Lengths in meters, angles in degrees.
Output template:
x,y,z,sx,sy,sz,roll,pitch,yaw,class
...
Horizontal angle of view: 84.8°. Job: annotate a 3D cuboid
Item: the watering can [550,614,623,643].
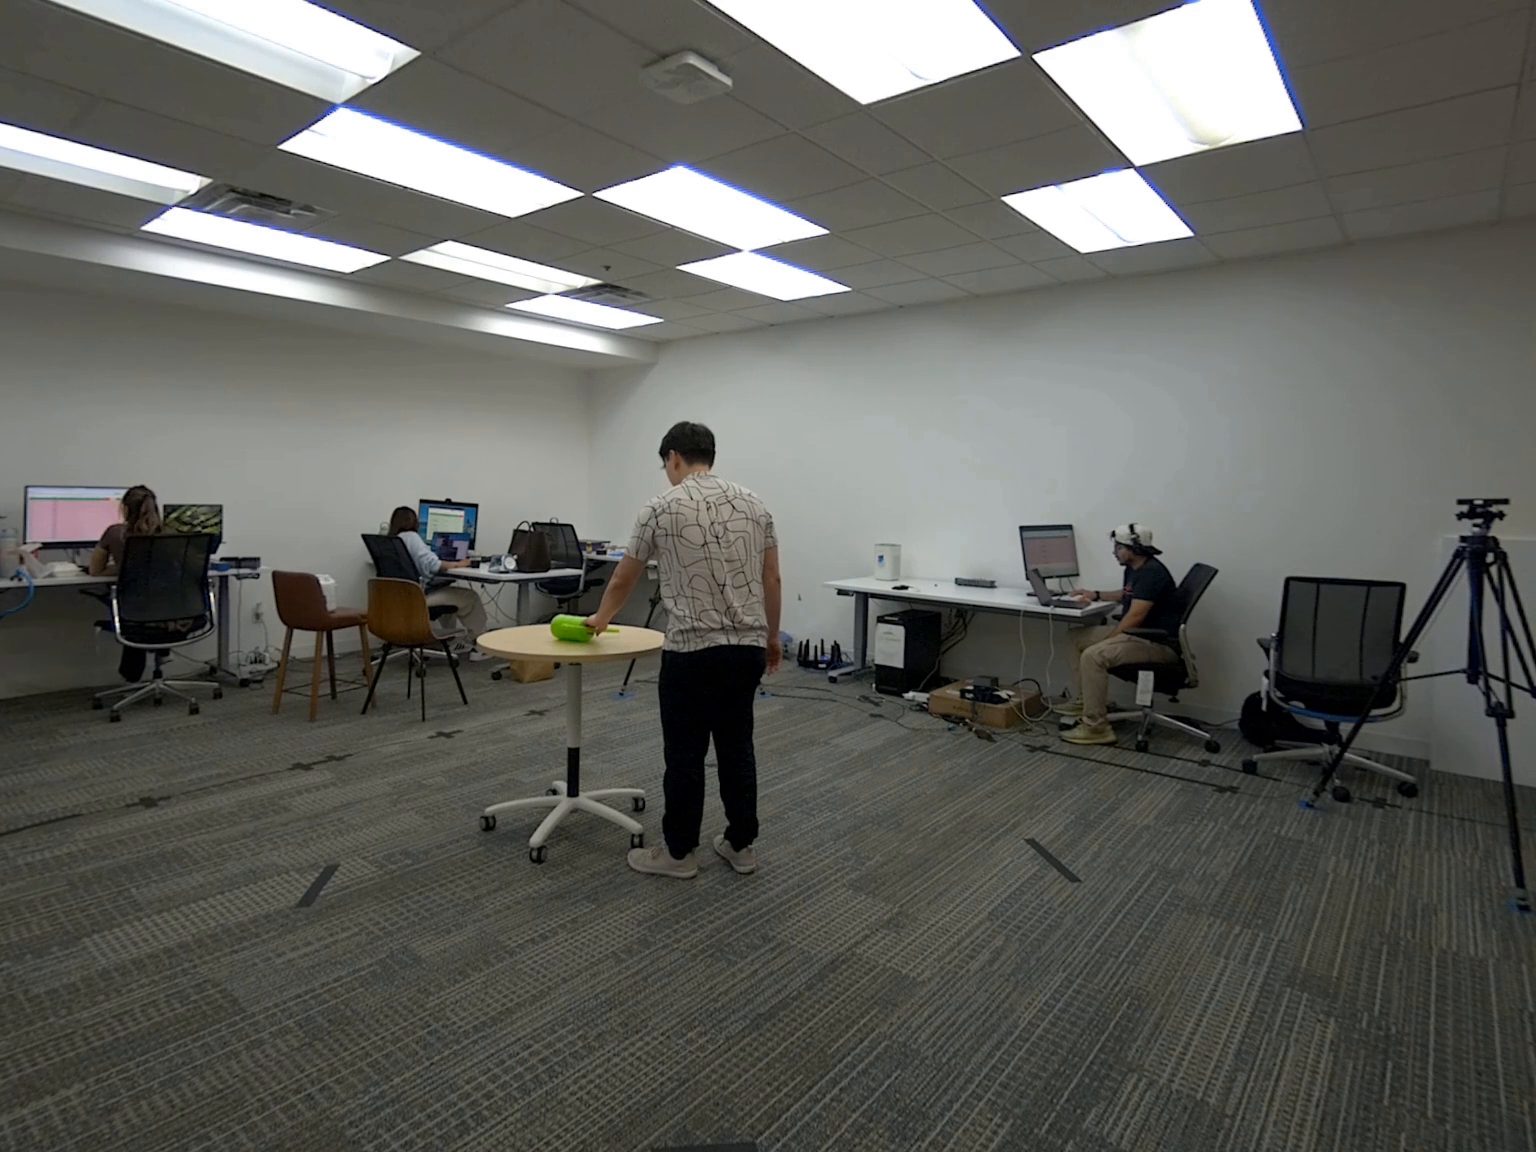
x,y,z,sx,sy,sz,roll,pitch,yaw,class
-0.750,0.220,3.390,0.181,0.099,0.268,4,-16,23,watering can
